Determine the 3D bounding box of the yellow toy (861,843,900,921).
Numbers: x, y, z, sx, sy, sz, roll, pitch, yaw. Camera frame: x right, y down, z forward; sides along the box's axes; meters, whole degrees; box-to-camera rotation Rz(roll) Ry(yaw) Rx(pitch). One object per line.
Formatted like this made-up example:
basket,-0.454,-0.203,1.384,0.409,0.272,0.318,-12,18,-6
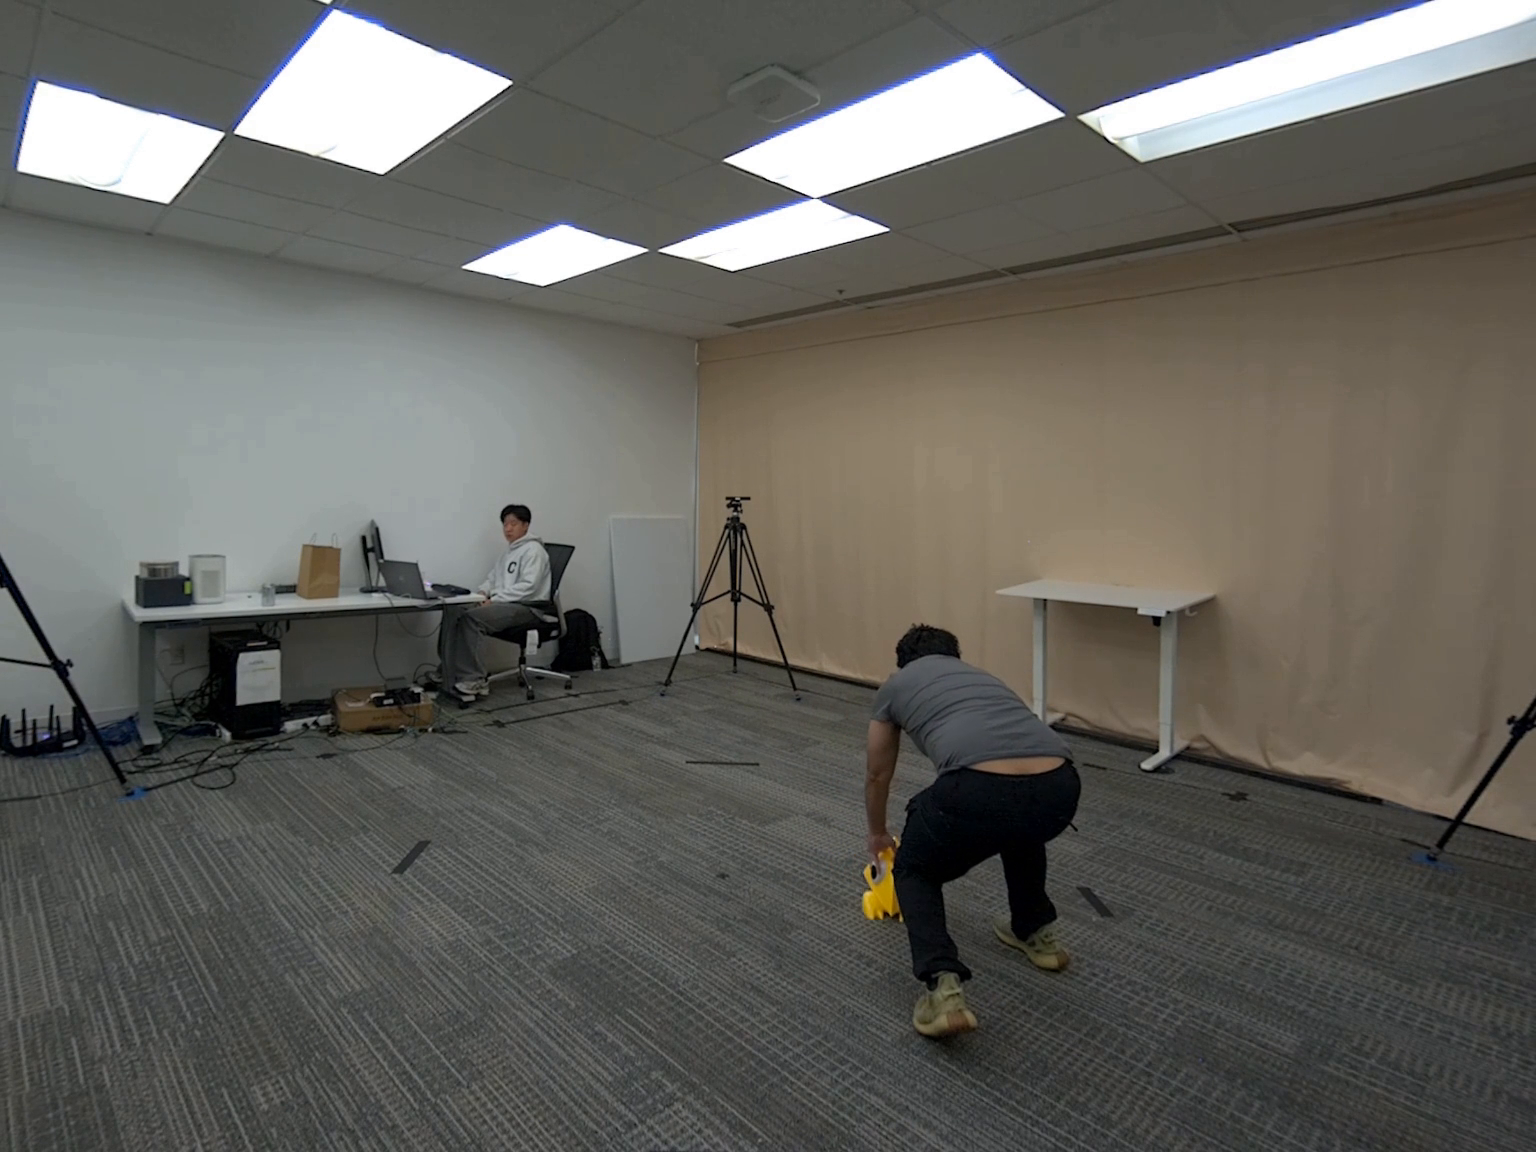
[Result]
yellow toy,0.420,1.027,2.868,0.206,0.230,0.192,2,3,10
